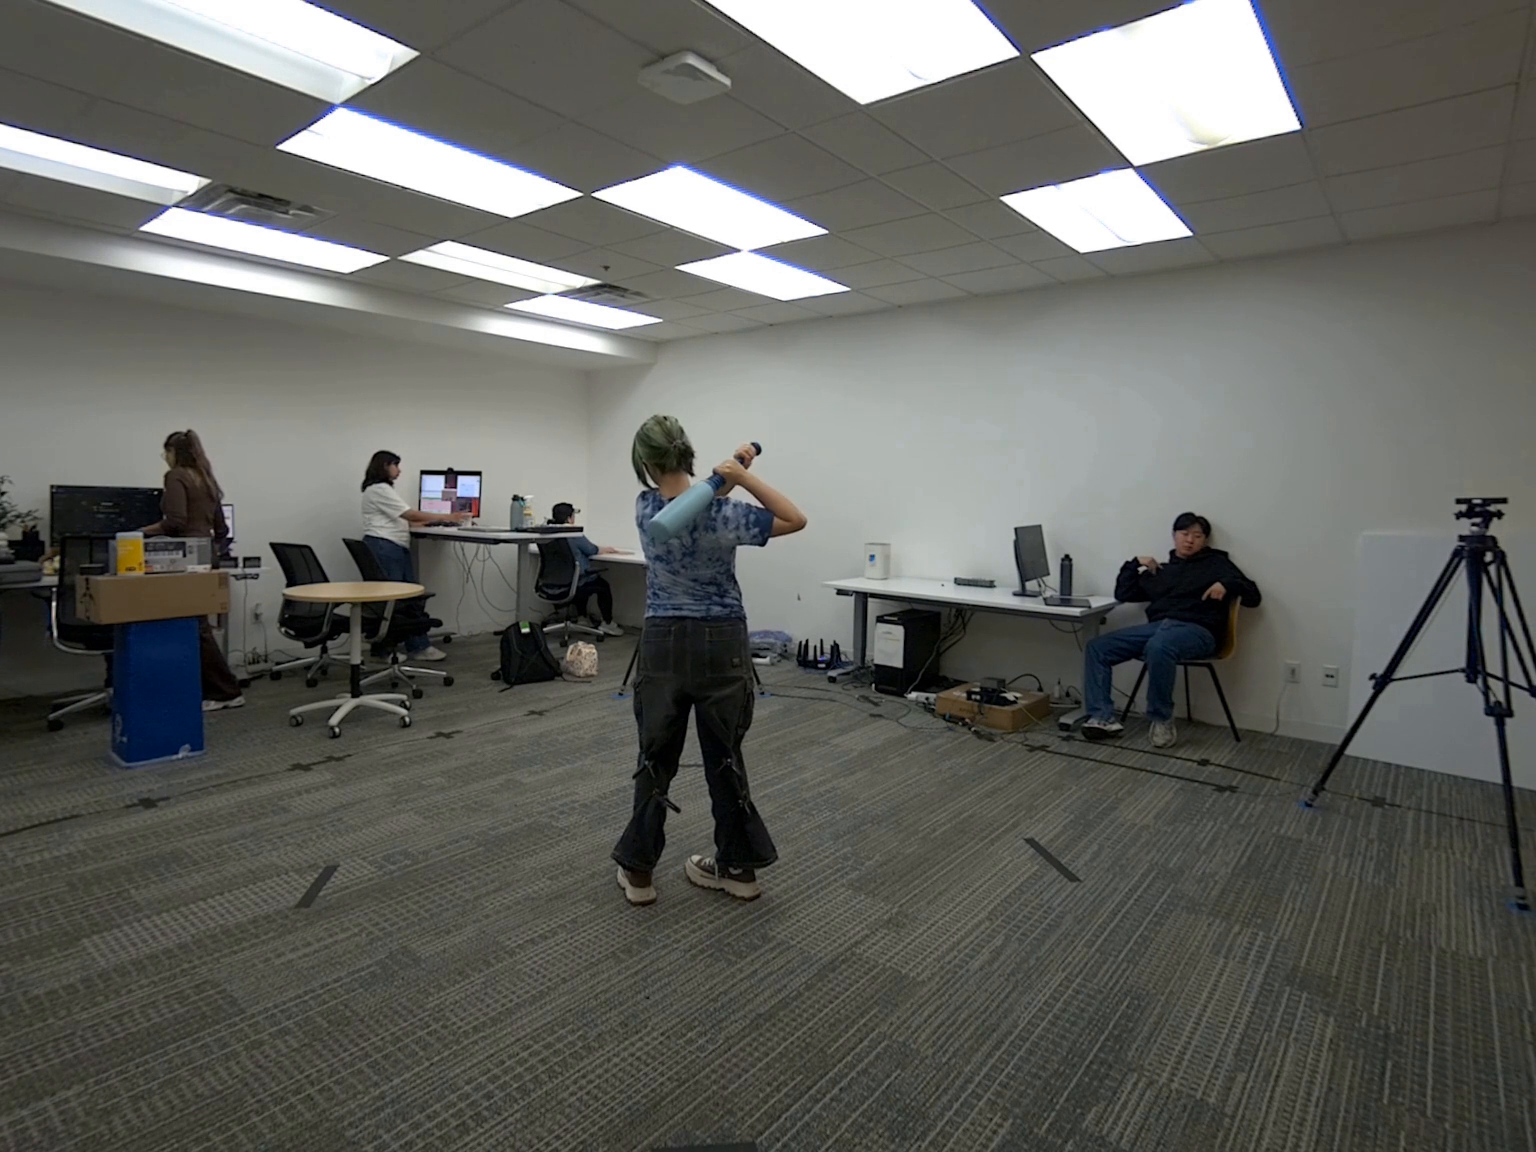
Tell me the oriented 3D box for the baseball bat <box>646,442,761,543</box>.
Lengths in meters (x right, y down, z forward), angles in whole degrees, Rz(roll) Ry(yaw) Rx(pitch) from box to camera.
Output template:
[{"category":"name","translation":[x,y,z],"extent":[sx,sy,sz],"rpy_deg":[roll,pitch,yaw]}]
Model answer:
[{"category":"baseball bat","translation":[-0.184,-0.293,2.729],"extent":[0.092,0.086,0.542],"rpy_deg":[4,38,39]}]
